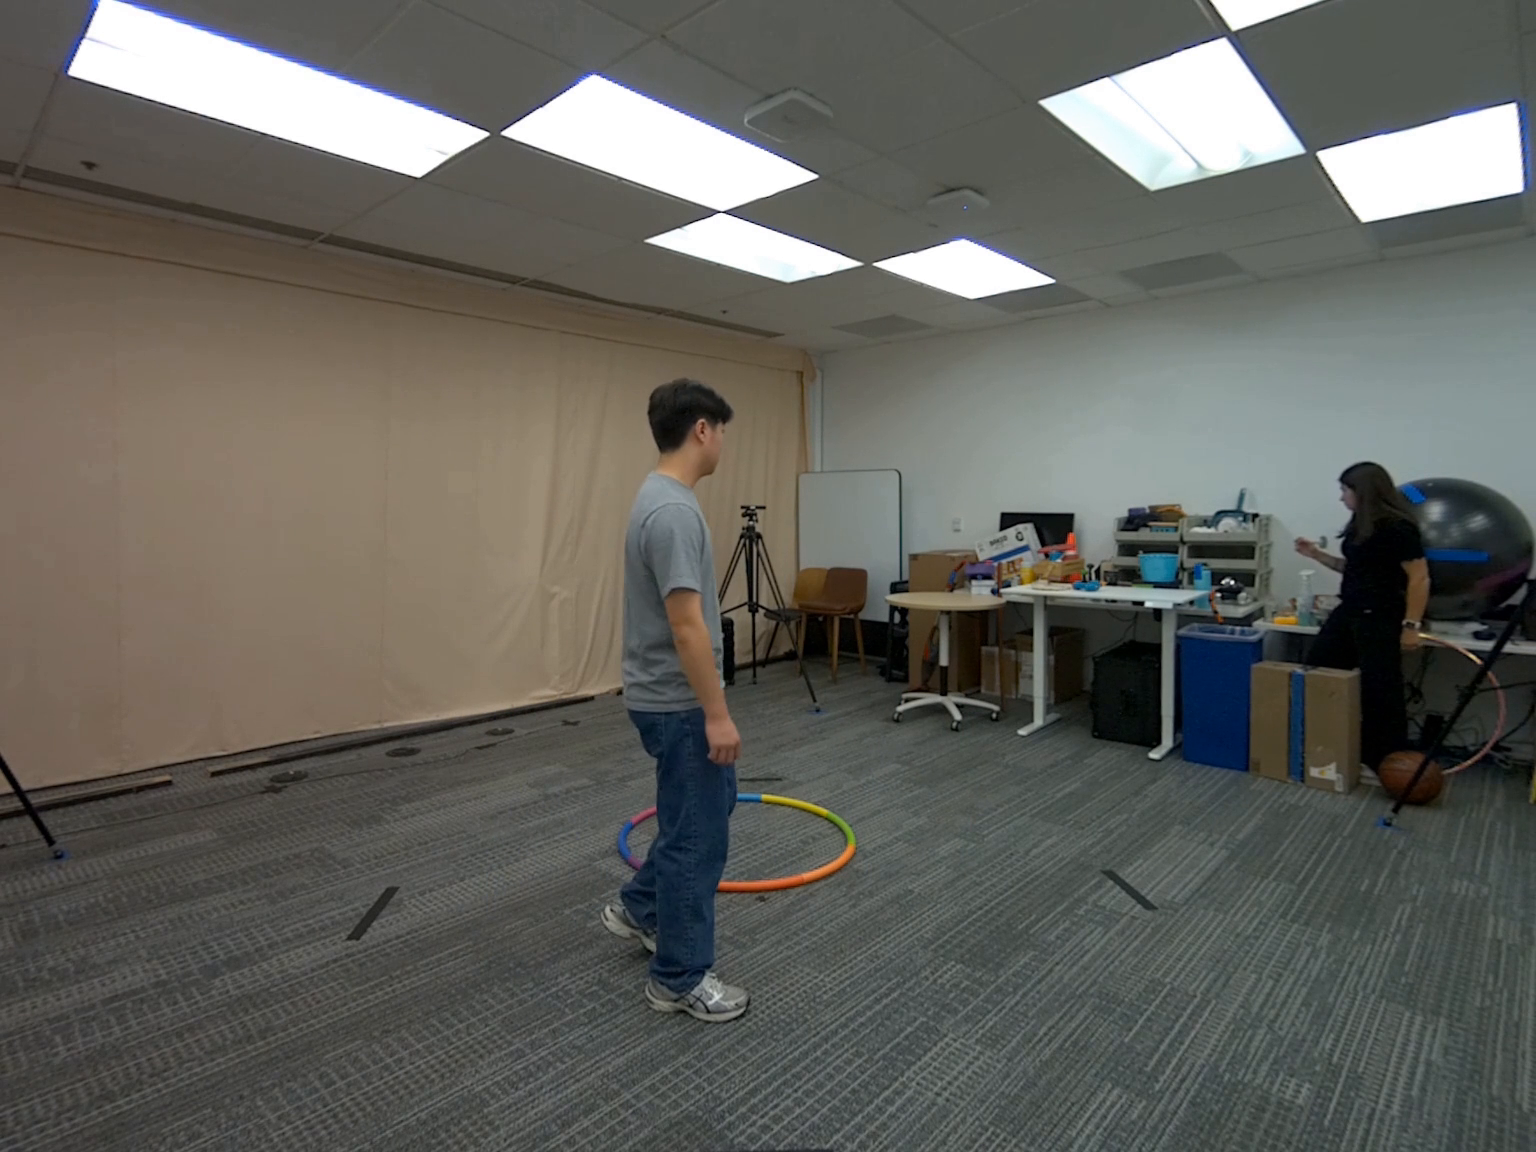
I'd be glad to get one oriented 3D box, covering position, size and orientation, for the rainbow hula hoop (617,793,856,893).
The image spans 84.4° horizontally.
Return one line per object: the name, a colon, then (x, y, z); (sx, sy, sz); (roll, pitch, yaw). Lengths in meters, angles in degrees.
rainbow hula hoop: (-0.130, 1.067, 3.505); (0.978, 0.035, 0.982); (-1, 5, -2)
